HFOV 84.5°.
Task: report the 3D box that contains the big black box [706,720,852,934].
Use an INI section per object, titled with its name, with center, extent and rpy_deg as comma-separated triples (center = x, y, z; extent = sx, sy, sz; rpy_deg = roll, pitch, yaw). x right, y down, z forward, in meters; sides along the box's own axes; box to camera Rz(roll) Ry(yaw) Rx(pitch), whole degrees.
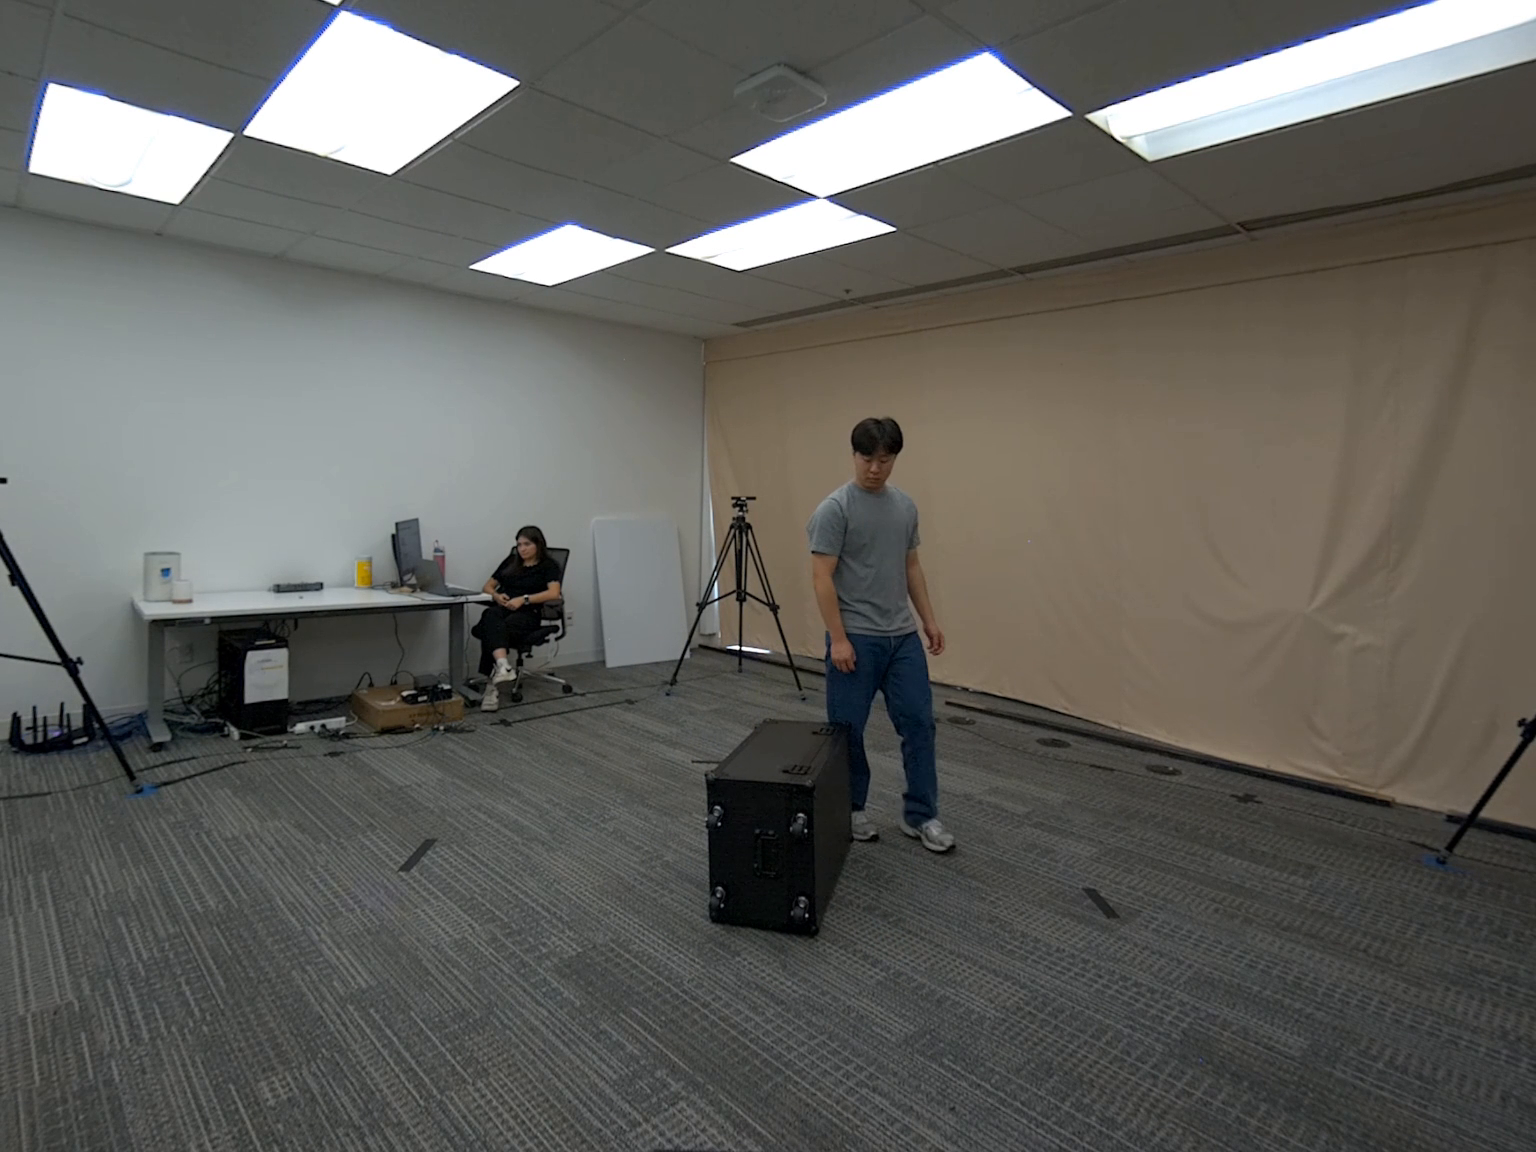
[big black box]
center = 0.041, 0.860, 3.034
extent = 0.401, 0.520, 0.853
rpy_deg = -1, 4, 14
